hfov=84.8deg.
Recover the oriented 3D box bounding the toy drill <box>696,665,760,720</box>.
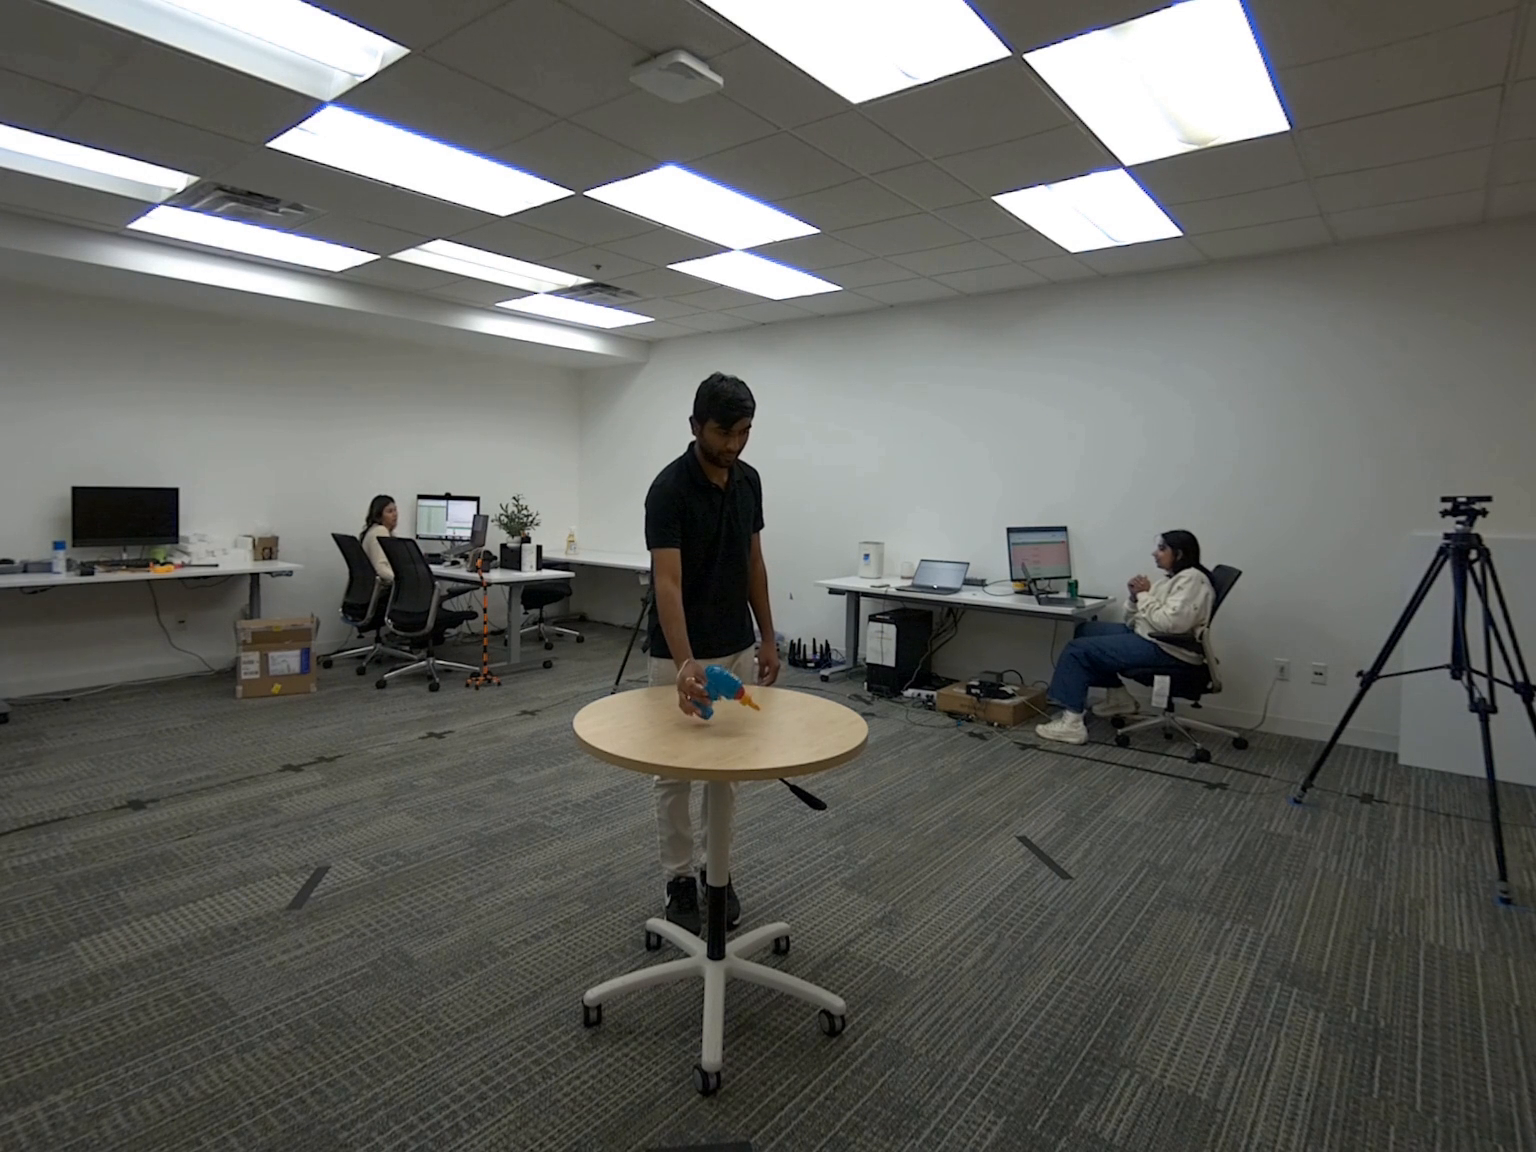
[{"bbox_3d":[-0.114,0.298,2.139,0.172,0.145,0.060,36,20,9],"label":"toy drill"}]
